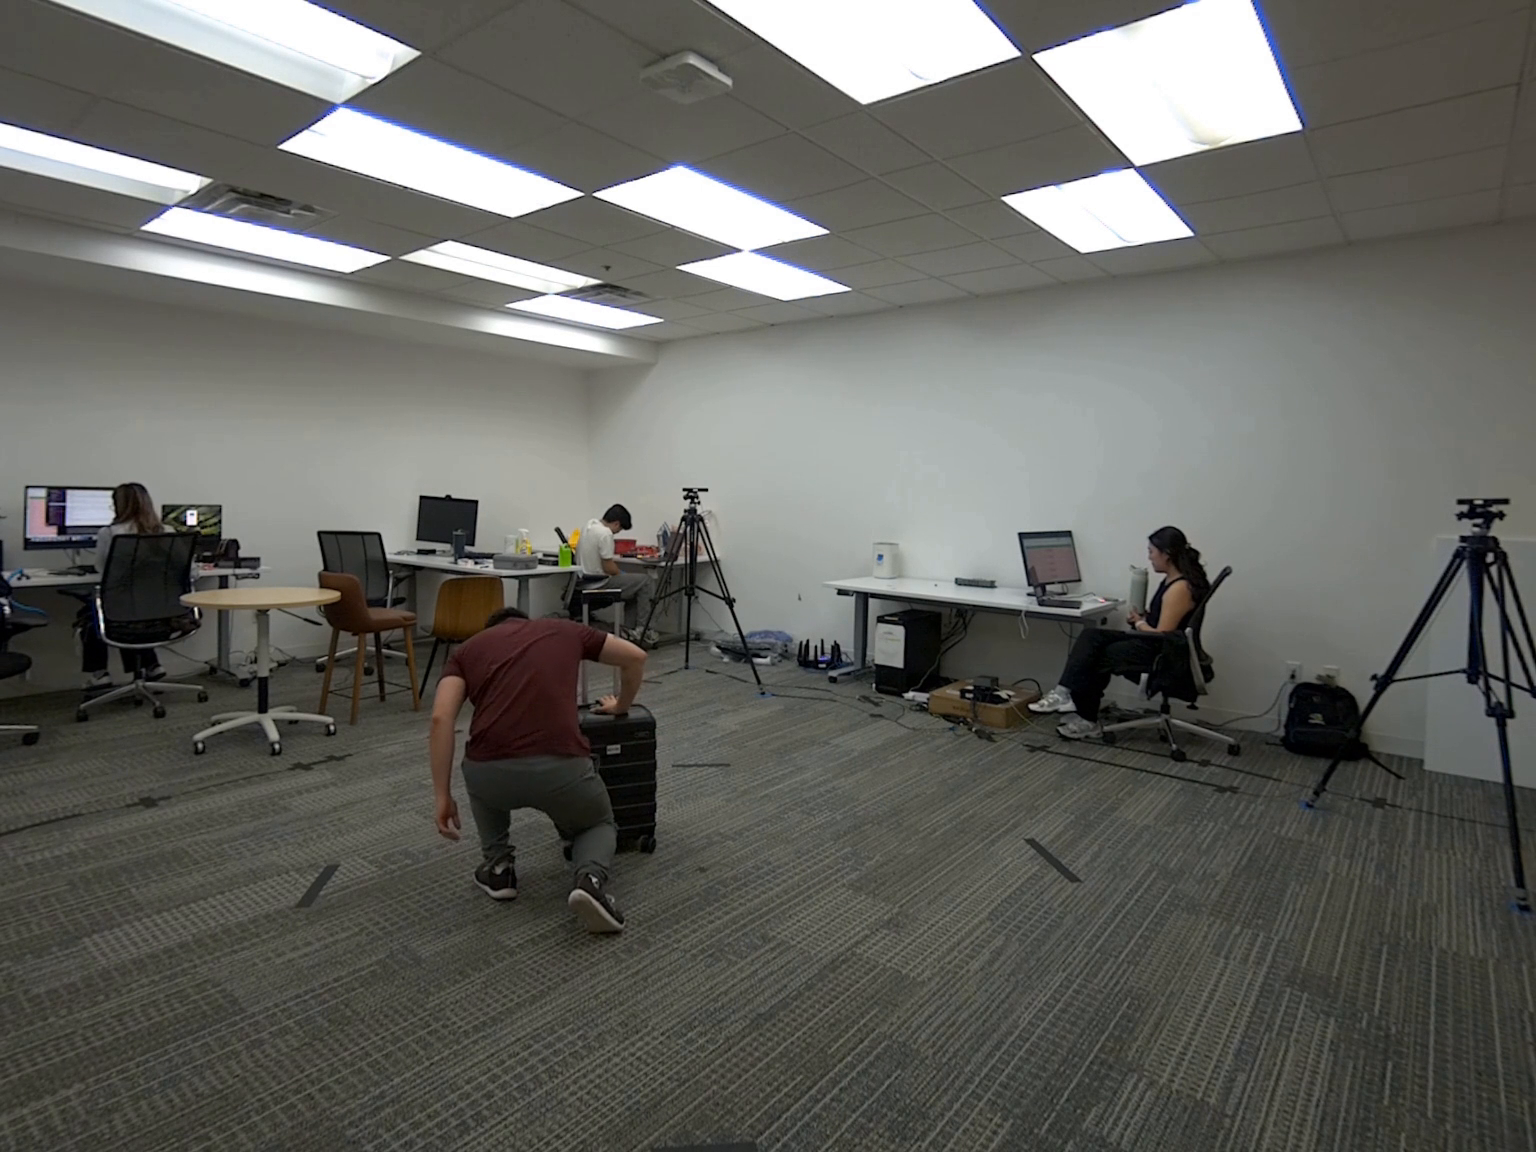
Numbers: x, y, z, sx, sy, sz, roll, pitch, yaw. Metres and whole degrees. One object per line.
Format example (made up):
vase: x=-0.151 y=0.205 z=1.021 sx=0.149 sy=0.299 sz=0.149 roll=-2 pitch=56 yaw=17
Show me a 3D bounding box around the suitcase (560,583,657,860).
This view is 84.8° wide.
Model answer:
suitcase: x=-0.629 y=0.573 z=3.300 sx=0.376 sy=0.975 sz=0.263 roll=-2 pitch=4 yaw=-21
